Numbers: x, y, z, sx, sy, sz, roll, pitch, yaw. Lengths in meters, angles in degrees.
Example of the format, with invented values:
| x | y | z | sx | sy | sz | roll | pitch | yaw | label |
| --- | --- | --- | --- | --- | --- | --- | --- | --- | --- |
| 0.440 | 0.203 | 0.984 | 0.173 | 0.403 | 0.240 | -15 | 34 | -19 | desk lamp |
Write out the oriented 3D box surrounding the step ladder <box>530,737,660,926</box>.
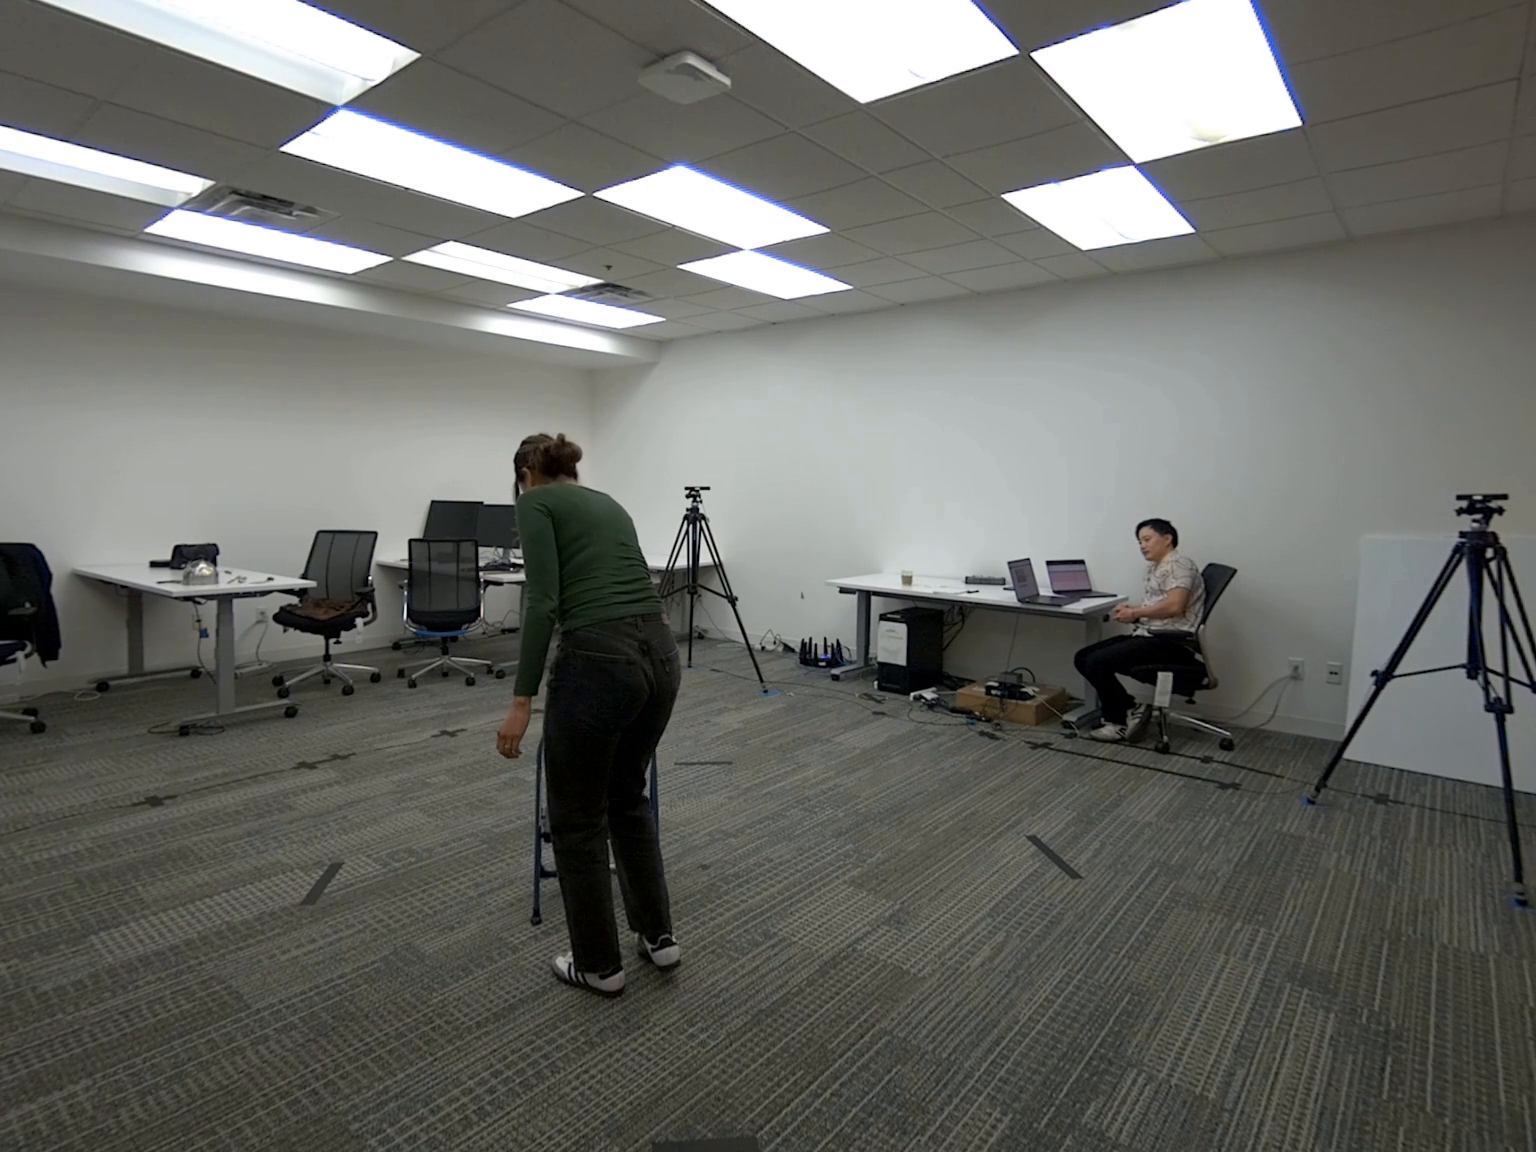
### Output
| x | y | z | sx | sy | sz | roll | pitch | yaw | label |
| --- | --- | --- | --- | --- | --- | --- | --- | --- | --- |
| -0.586 | 0.782 | 2.886 | 0.425 | 0.604 | 0.355 | 0 | 4 | -13 | step ladder |
